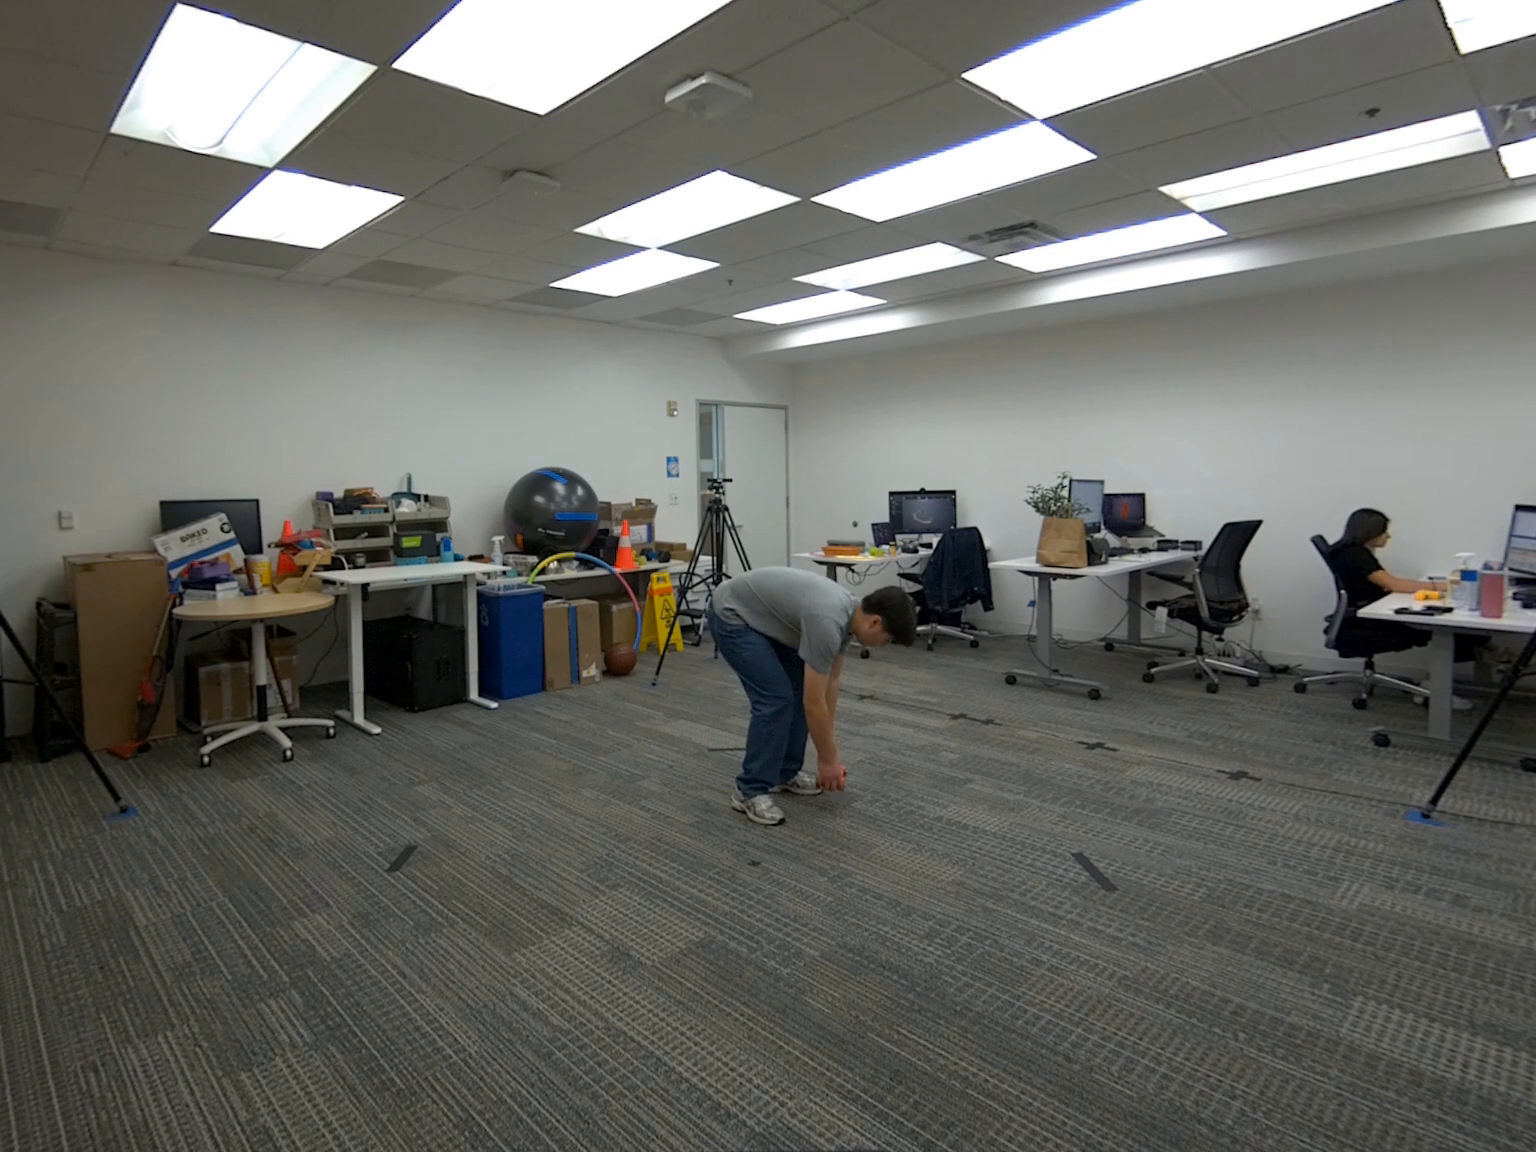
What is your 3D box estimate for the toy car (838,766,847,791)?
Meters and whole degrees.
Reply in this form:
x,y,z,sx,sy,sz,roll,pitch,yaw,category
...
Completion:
x,y,z,sx,sy,sz,roll,pitch,yaw,category
0.279,0.831,3.598,0.131,0.083,0.253,4,0,4,toy car
